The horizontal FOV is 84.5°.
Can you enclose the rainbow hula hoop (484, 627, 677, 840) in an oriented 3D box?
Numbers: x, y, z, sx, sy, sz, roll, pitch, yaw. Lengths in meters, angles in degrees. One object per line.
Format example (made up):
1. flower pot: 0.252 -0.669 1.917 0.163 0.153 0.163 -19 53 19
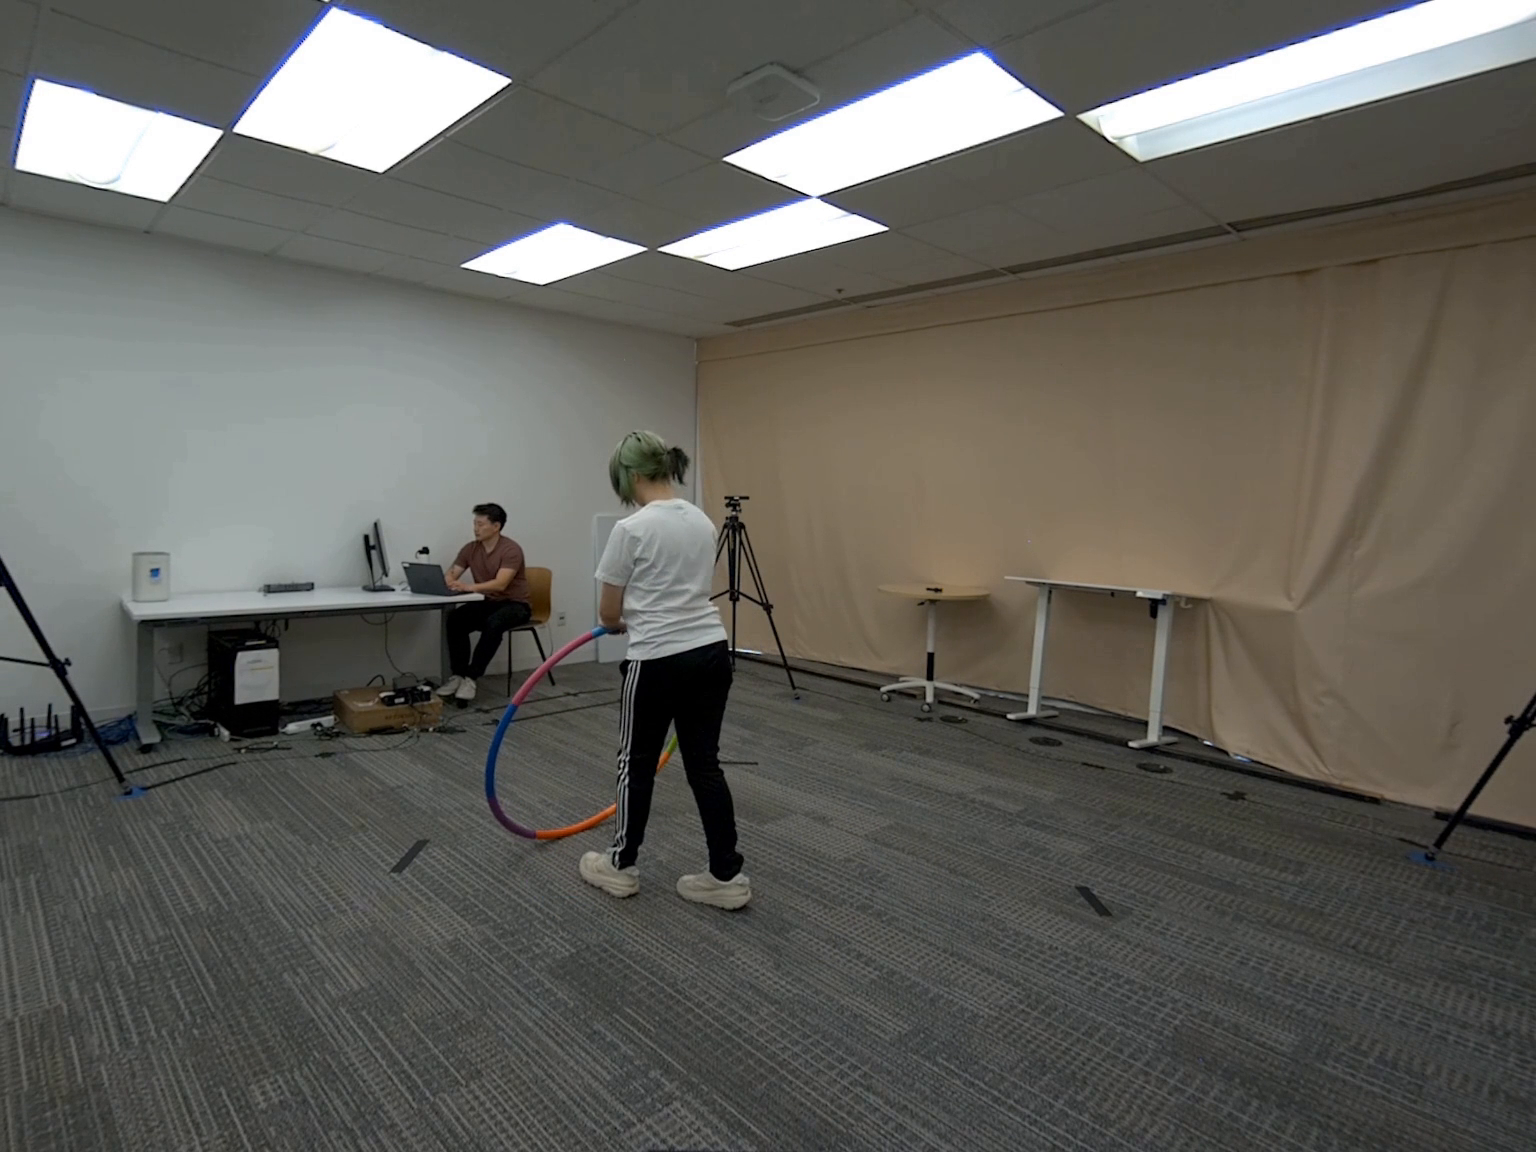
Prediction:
1. rainbow hula hoop: -0.675 0.616 3.327 0.036 0.971 0.957 30 22 36
